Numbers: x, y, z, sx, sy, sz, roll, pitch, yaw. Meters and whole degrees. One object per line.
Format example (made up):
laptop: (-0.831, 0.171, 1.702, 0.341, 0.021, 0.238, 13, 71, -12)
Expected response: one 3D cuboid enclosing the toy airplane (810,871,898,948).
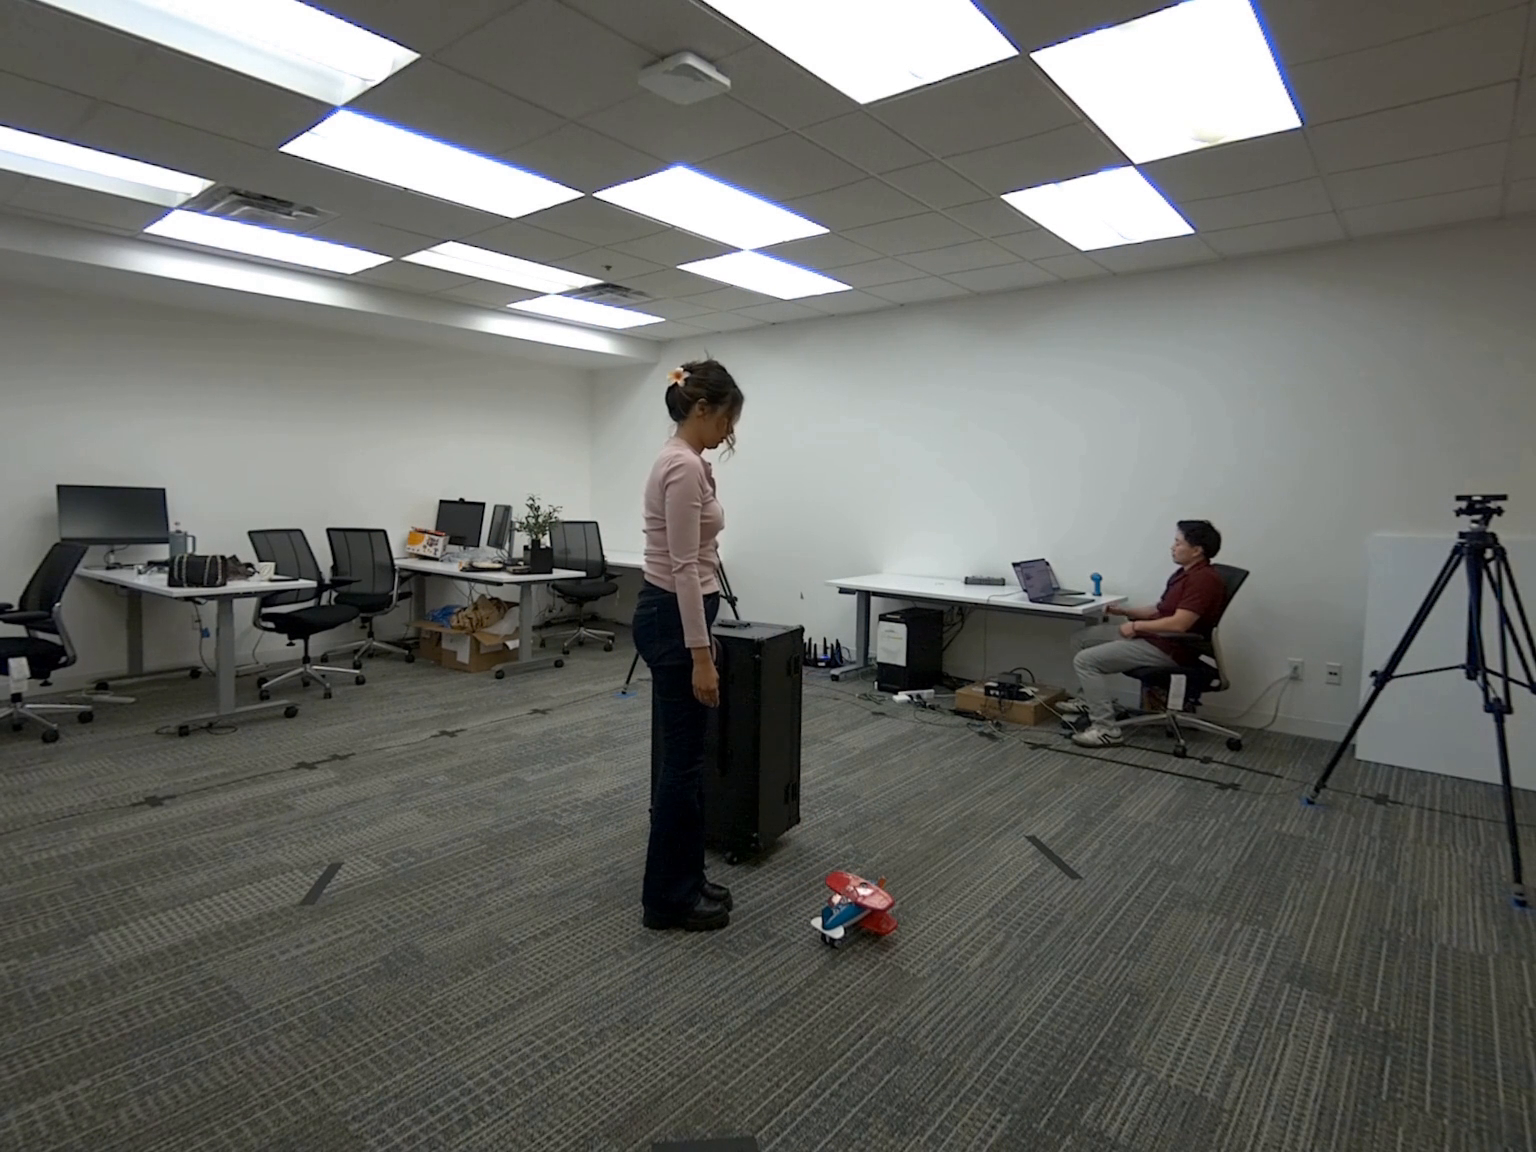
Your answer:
toy airplane: (0.269, 1.054, 2.634, 0.257, 0.156, 0.254, 2, 2, 21)
